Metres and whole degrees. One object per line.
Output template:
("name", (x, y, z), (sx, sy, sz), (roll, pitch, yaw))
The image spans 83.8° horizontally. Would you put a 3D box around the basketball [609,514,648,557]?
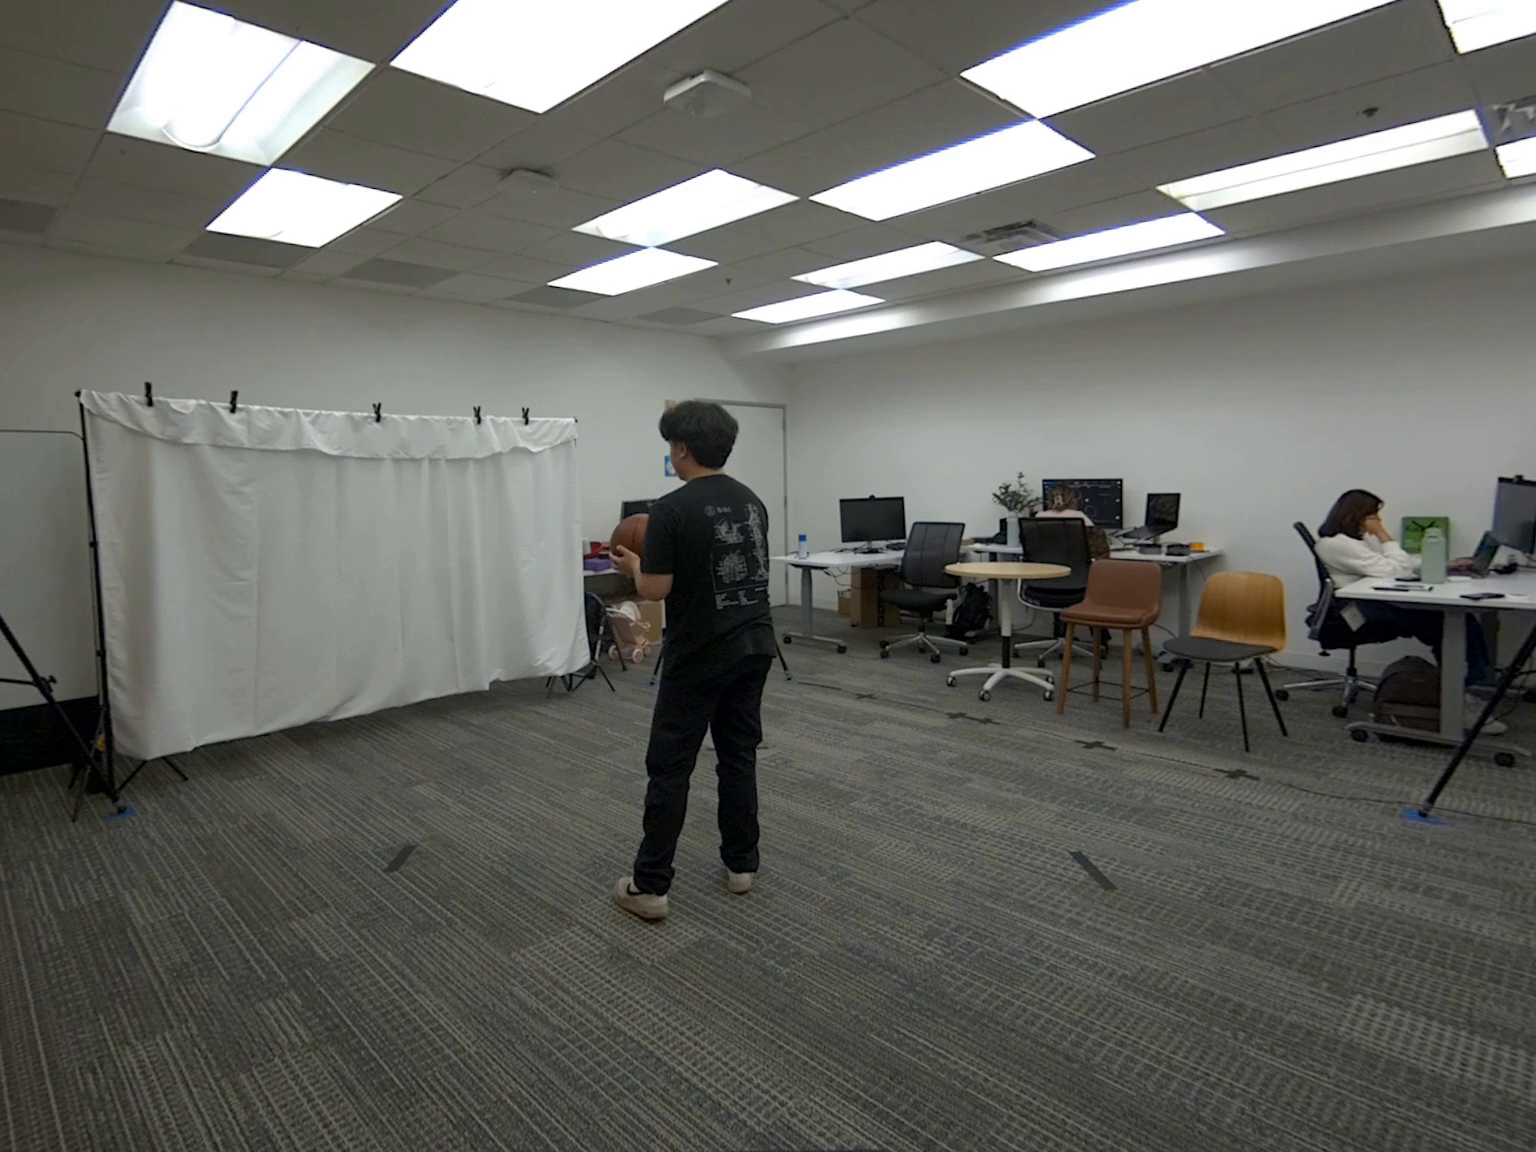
("basketball", (-0.455, -0.109, 3.132), (0.236, 0.235, 0.237), (-1, 5, -2))
